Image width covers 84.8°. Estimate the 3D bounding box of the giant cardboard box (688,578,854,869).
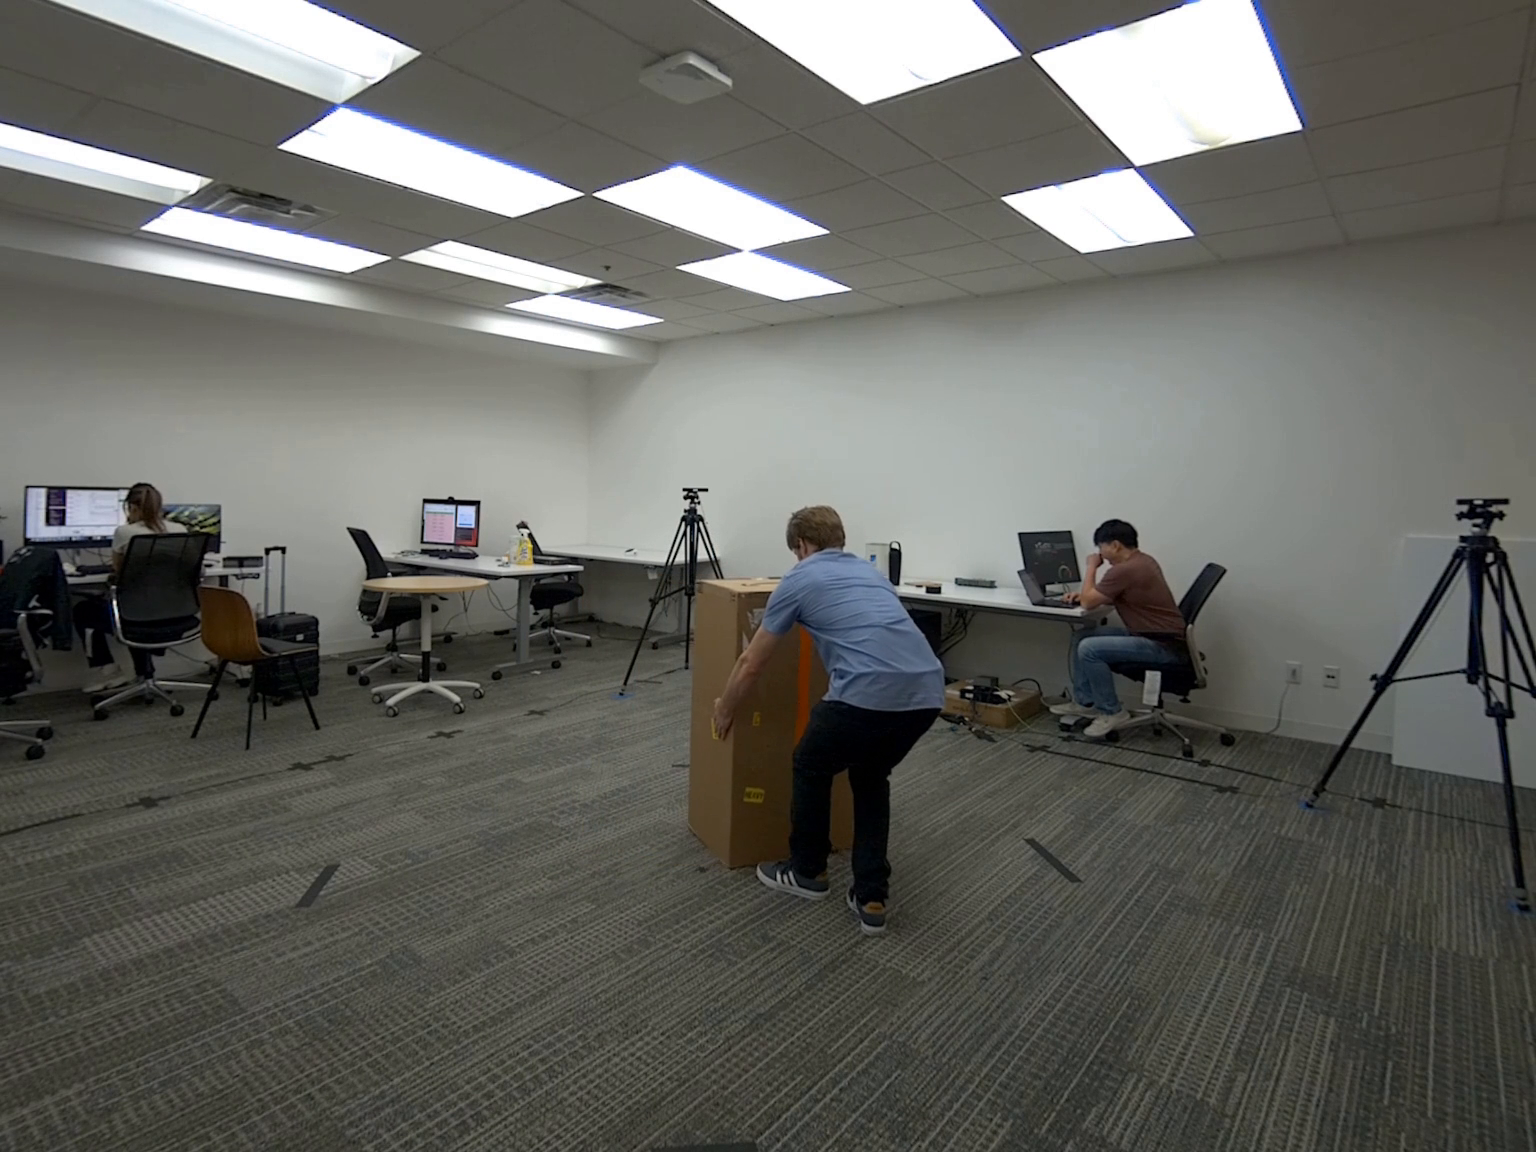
[{"bbox_3d":[0.023,0.538,3.386,0.564,1.023,0.438,0,4,-24],"label":"giant cardboard box"}]
